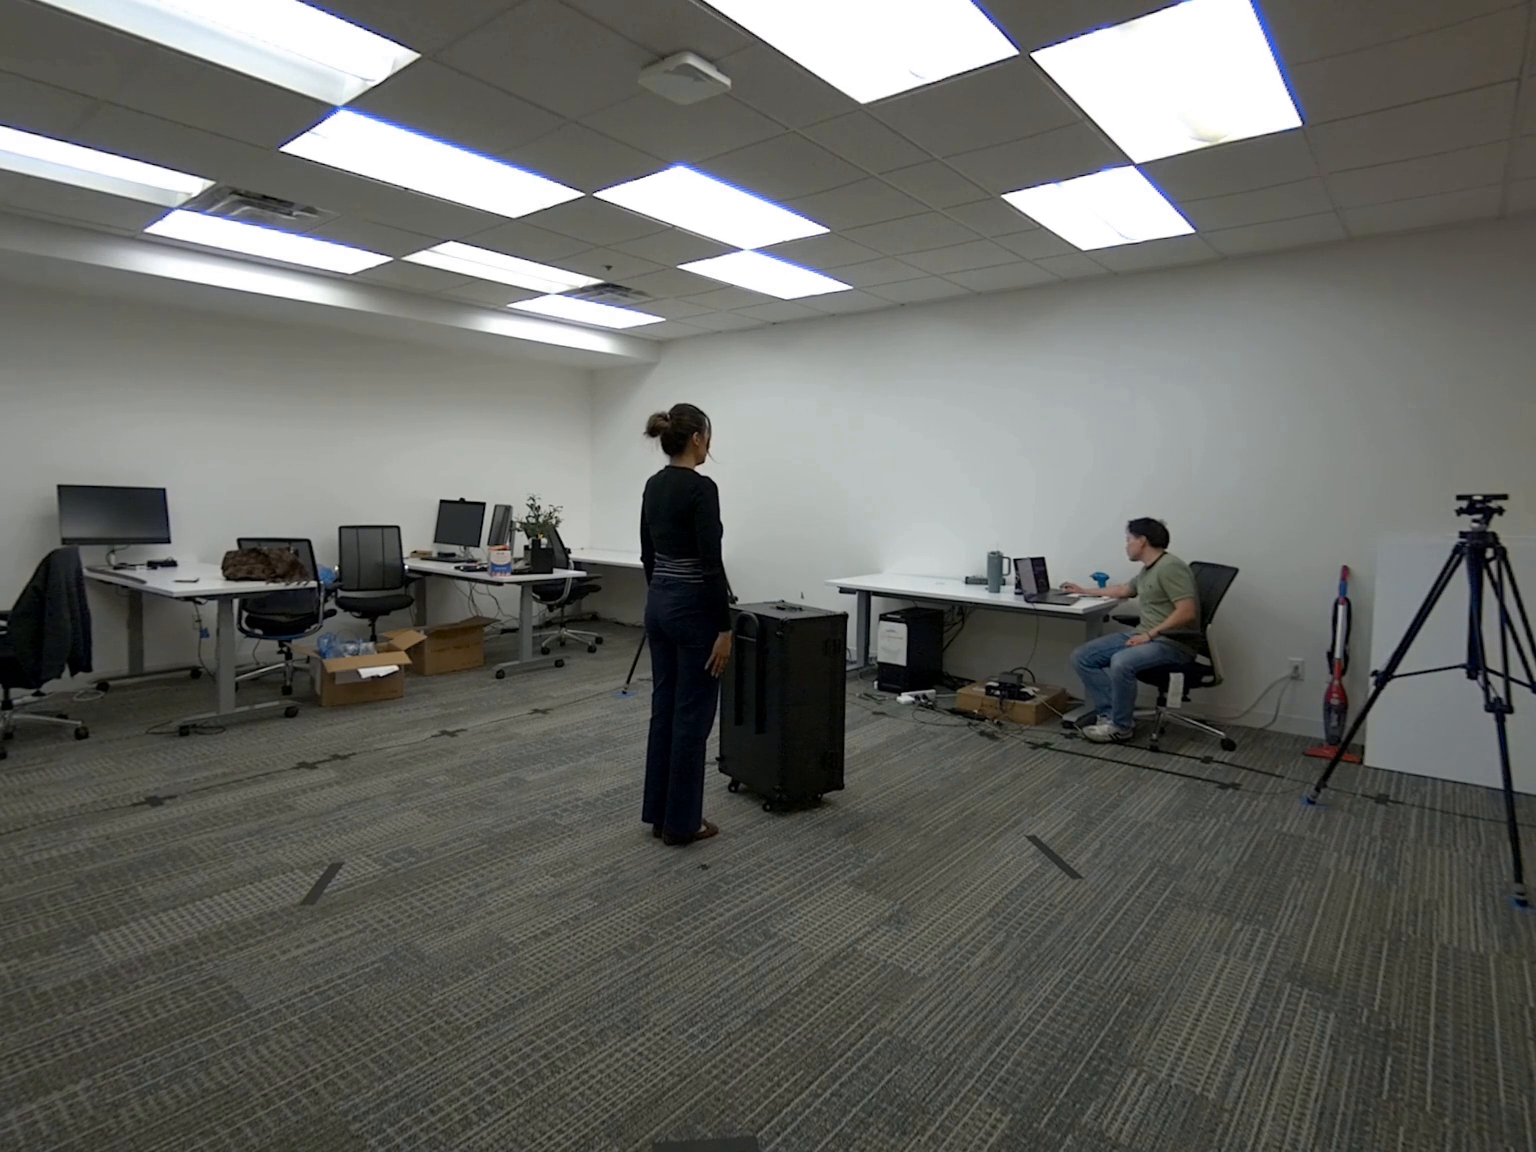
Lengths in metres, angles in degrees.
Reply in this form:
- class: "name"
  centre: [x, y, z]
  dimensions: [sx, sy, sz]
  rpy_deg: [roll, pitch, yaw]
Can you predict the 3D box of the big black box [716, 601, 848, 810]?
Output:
- class: "big black box"
  centre: [0.044, 0.568, 3.839]
  dimensions: [0.385, 0.858, 0.538]
  rpy_deg: [-2, 5, -35]
